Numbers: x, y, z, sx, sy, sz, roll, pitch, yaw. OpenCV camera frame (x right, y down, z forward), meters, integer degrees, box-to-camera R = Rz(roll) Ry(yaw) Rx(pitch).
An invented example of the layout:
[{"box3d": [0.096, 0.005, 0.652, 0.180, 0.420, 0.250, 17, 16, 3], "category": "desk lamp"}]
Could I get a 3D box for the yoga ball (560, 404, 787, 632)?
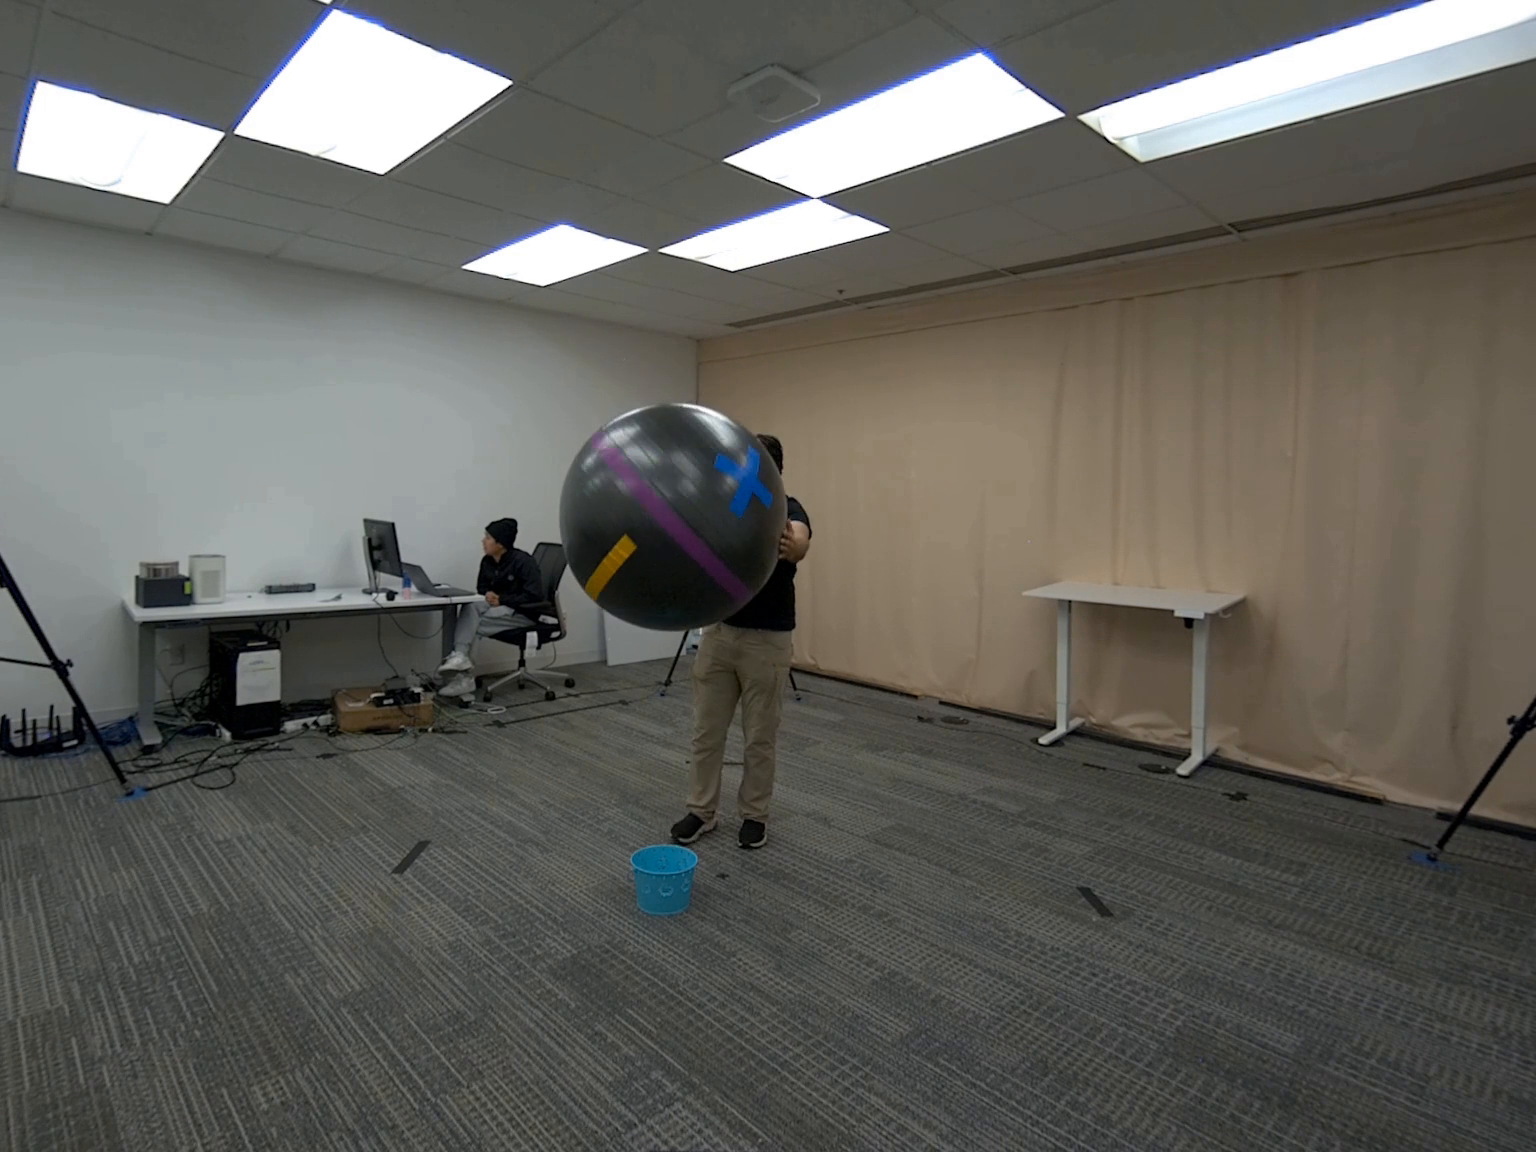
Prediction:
[{"box3d": [-0.317, -0.193, 2.810, 0.757, 0.756, 0.761, 1, 4, -1], "category": "yoga ball"}]
